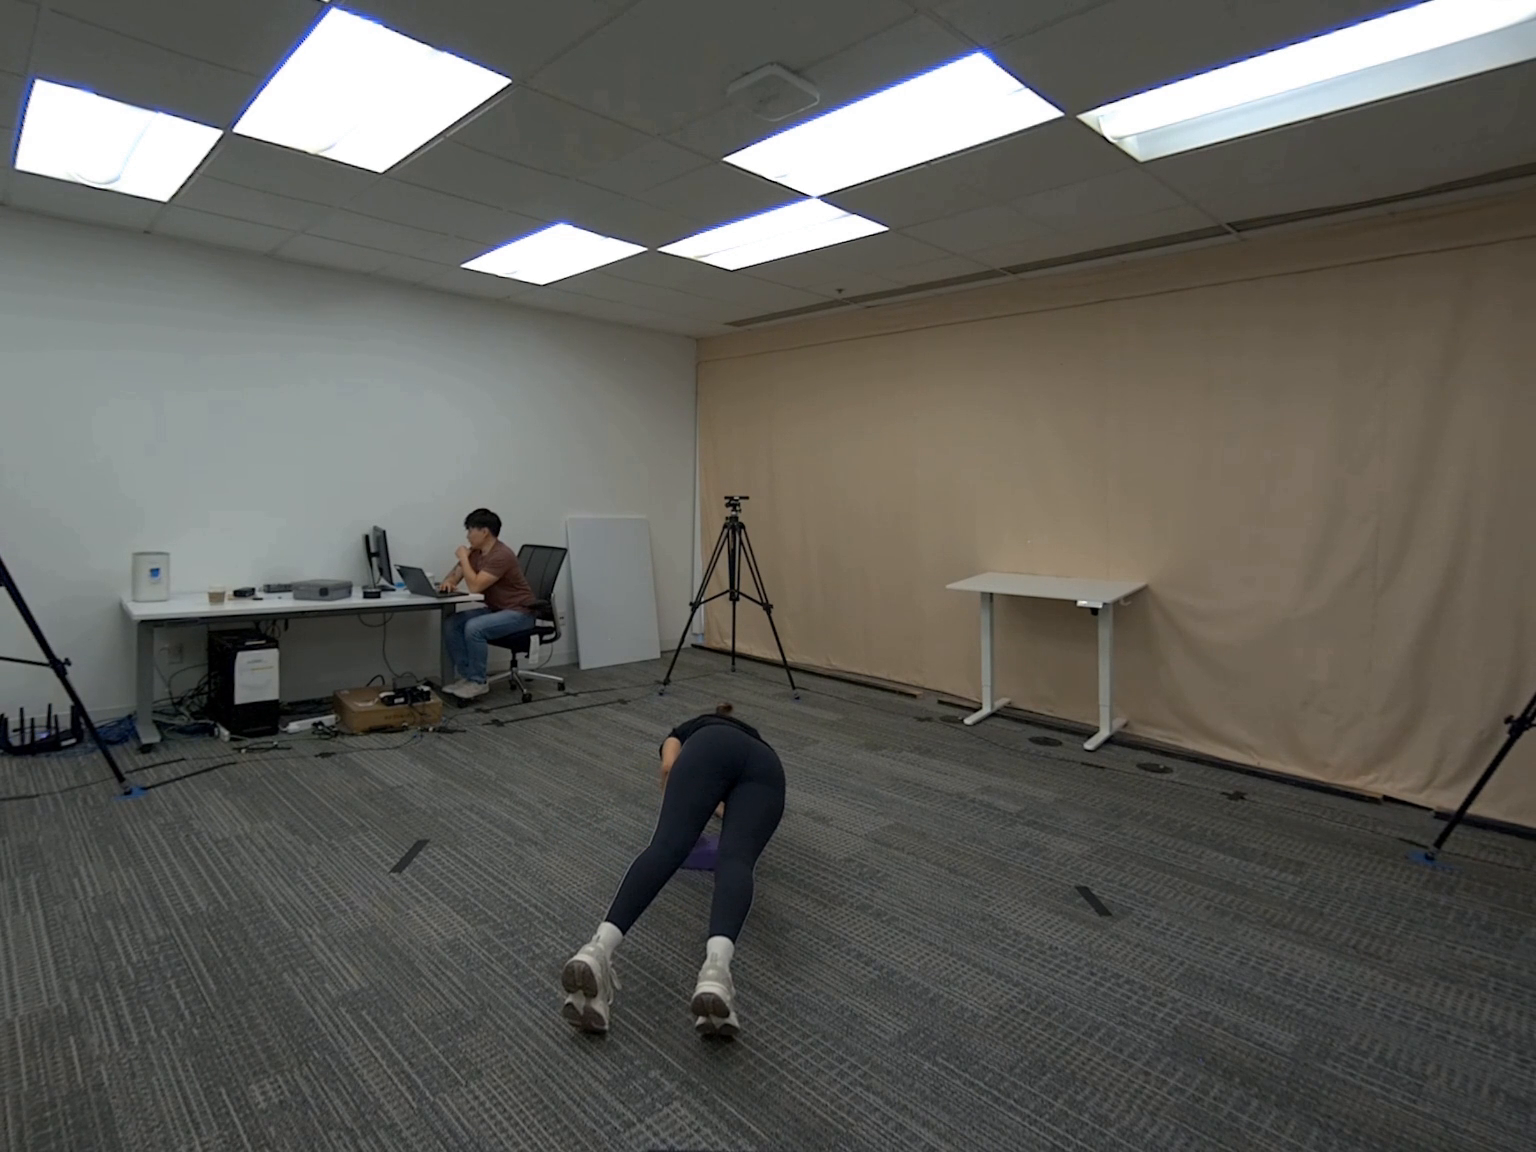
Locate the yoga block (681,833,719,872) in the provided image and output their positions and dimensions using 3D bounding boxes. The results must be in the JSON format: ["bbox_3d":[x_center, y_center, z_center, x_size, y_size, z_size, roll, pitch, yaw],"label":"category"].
[{"bbox_3d":[-0.233,1.065,3.194,0.230,0.076,0.149,1,7,5],"label":"yoga block"}]
